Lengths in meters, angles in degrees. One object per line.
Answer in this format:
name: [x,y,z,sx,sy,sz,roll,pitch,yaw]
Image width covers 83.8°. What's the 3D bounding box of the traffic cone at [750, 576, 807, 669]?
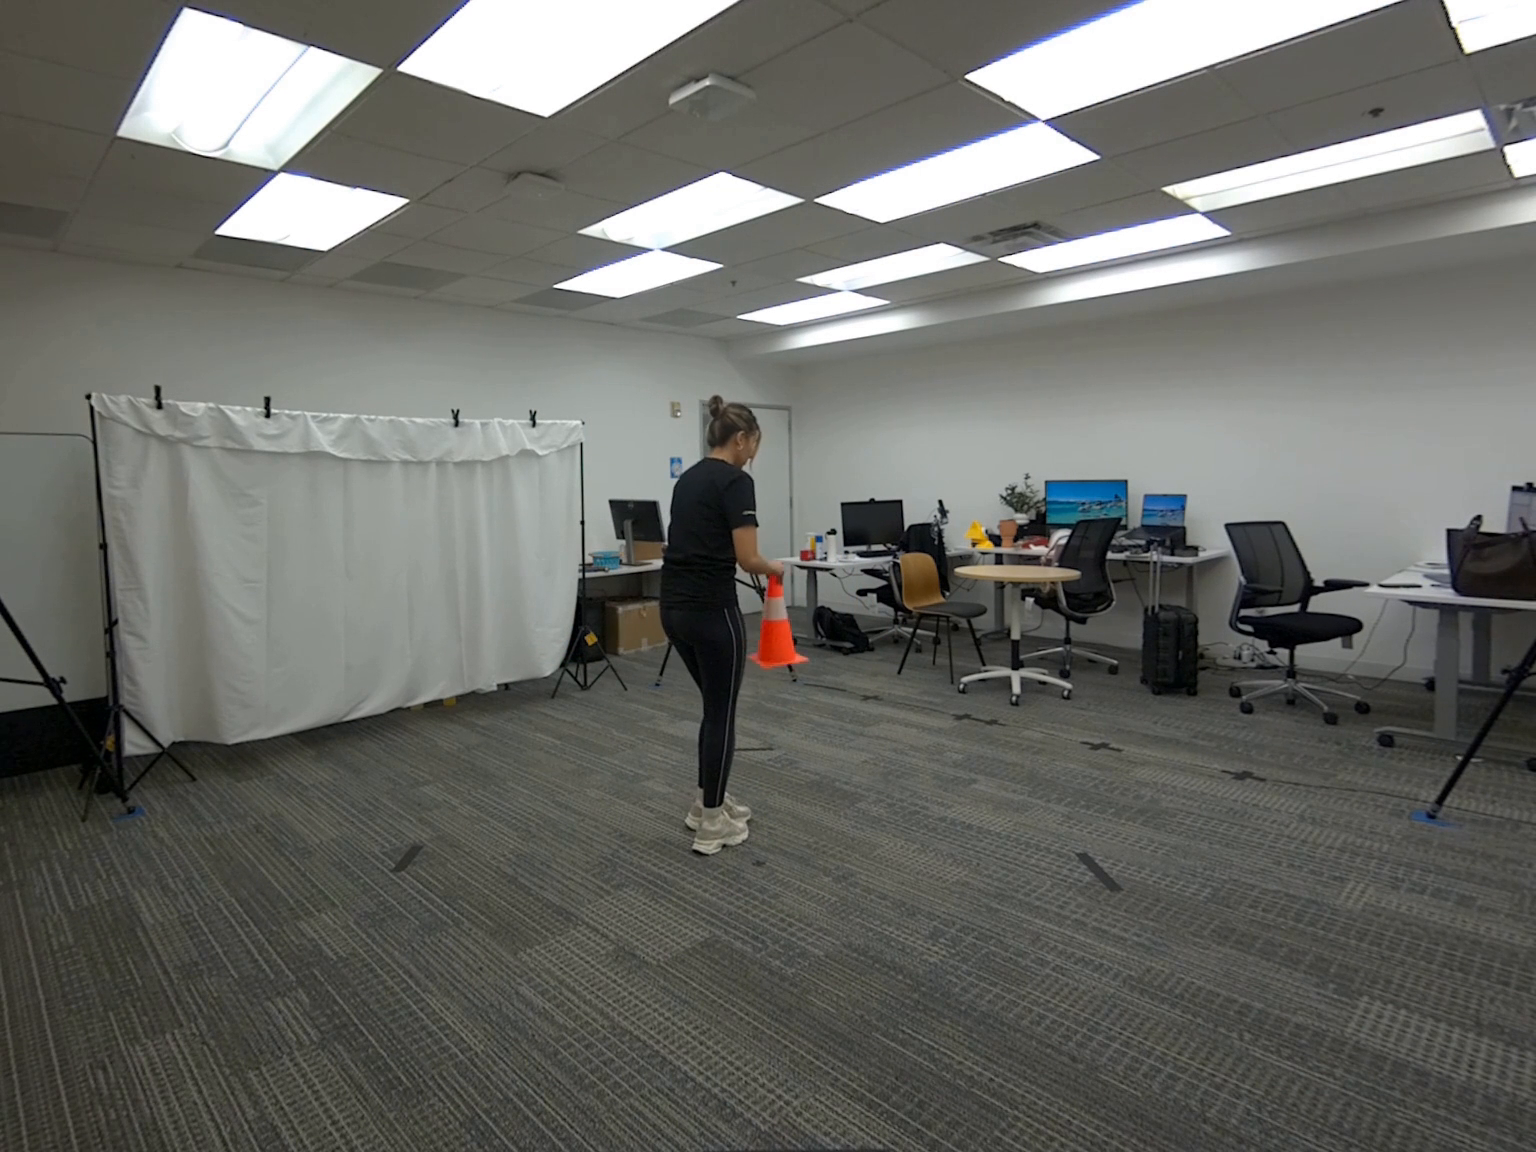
traffic cone: [0.021,0.157,3.426,0.200,0.380,0.210,-7,10,-21]
